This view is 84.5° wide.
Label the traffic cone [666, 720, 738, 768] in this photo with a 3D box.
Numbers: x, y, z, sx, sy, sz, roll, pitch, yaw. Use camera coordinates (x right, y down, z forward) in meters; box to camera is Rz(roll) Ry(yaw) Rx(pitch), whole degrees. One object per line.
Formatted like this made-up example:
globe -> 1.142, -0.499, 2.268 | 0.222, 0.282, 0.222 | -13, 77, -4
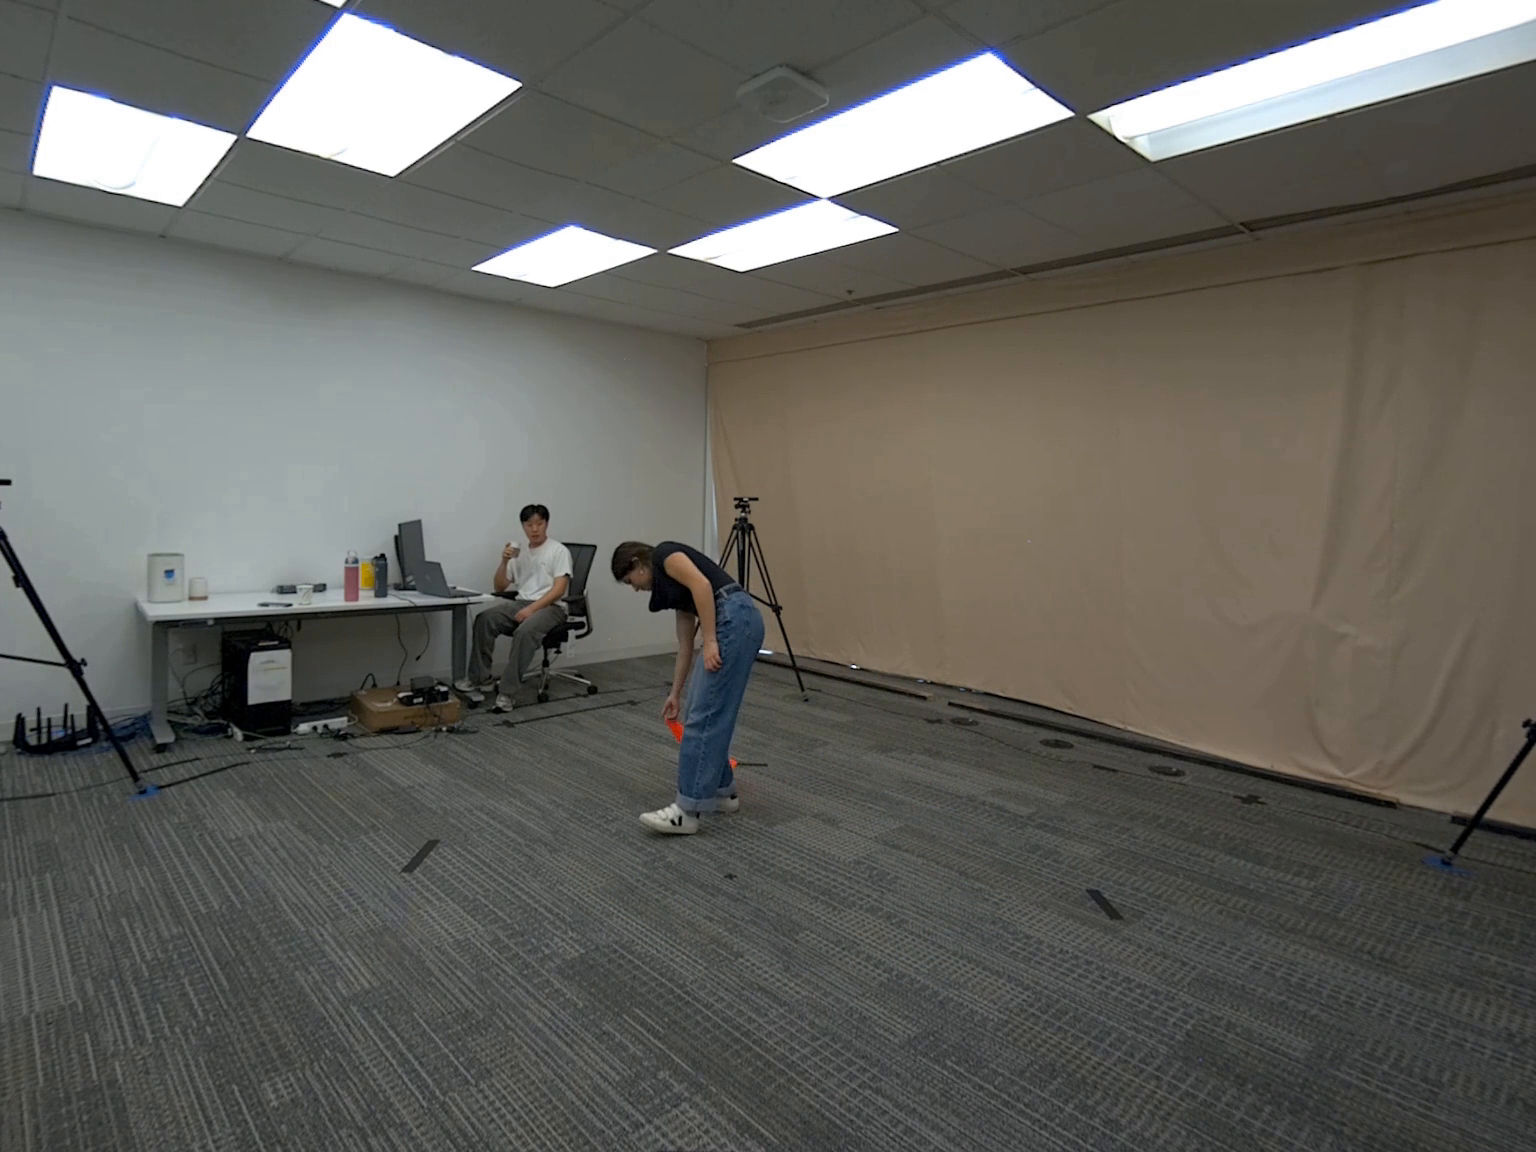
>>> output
traffic cone -> -0.370, 0.824, 4.019 | 0.204, 0.376, 0.208 | -37, 20, -11
